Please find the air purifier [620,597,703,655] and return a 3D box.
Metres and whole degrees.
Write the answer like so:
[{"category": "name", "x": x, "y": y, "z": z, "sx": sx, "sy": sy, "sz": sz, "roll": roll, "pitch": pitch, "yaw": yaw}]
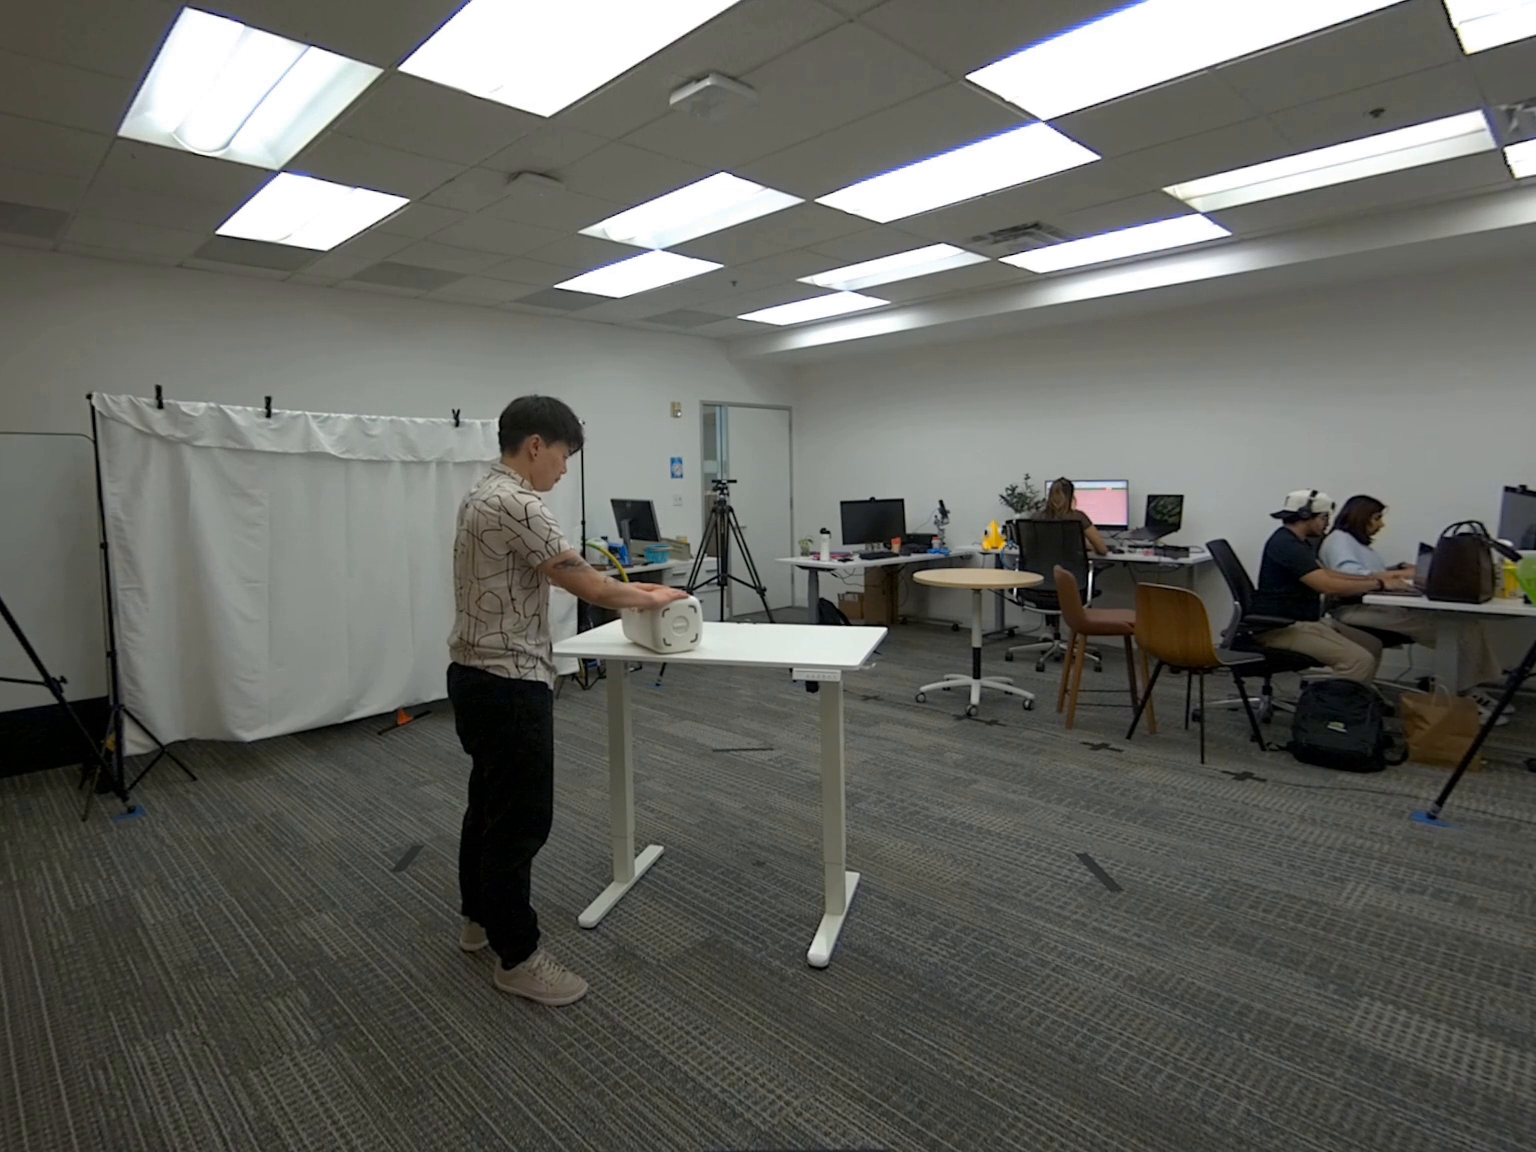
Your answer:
[{"category": "air purifier", "x": -0.325, "y": 0.134, "z": 2.666, "sx": 0.168, "sy": 0.170, "sz": 0.273, "roll": -5, "pitch": 7, "yaw": -30}]
